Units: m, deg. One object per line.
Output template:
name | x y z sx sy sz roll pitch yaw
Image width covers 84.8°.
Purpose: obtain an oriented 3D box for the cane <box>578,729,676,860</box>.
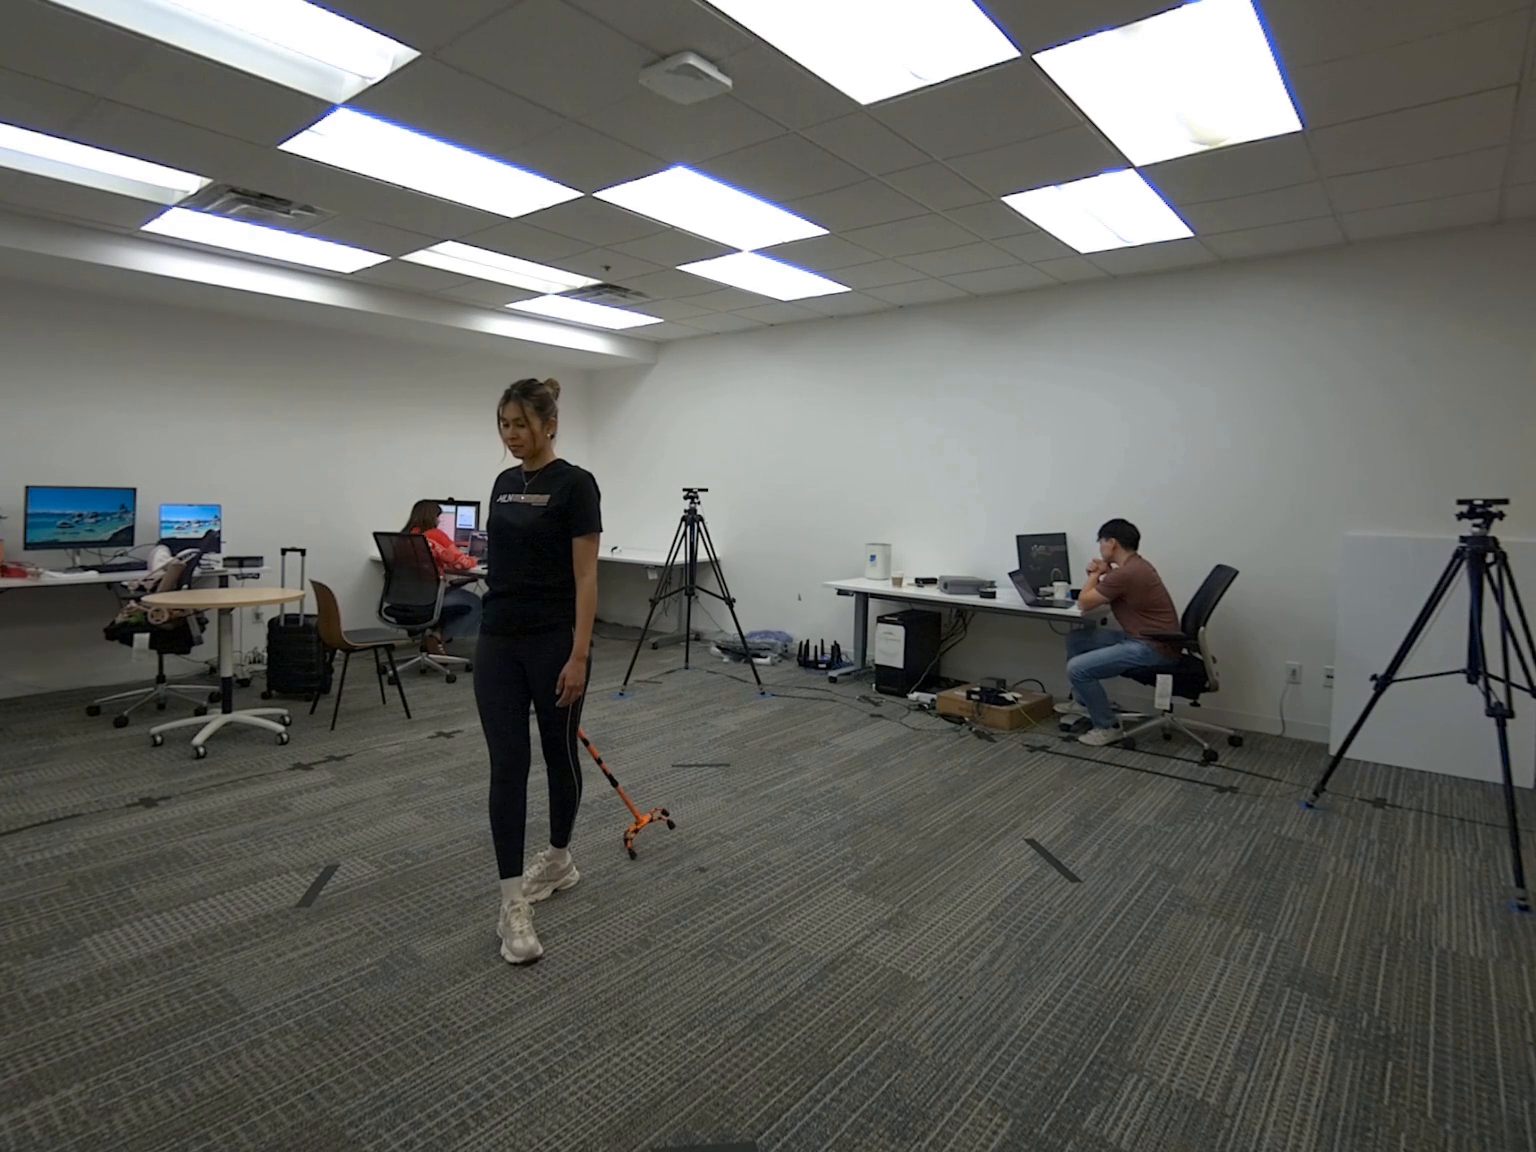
cane | -0.691 0.623 3.187 0.206 0.897 0.154 -34 9 -11
